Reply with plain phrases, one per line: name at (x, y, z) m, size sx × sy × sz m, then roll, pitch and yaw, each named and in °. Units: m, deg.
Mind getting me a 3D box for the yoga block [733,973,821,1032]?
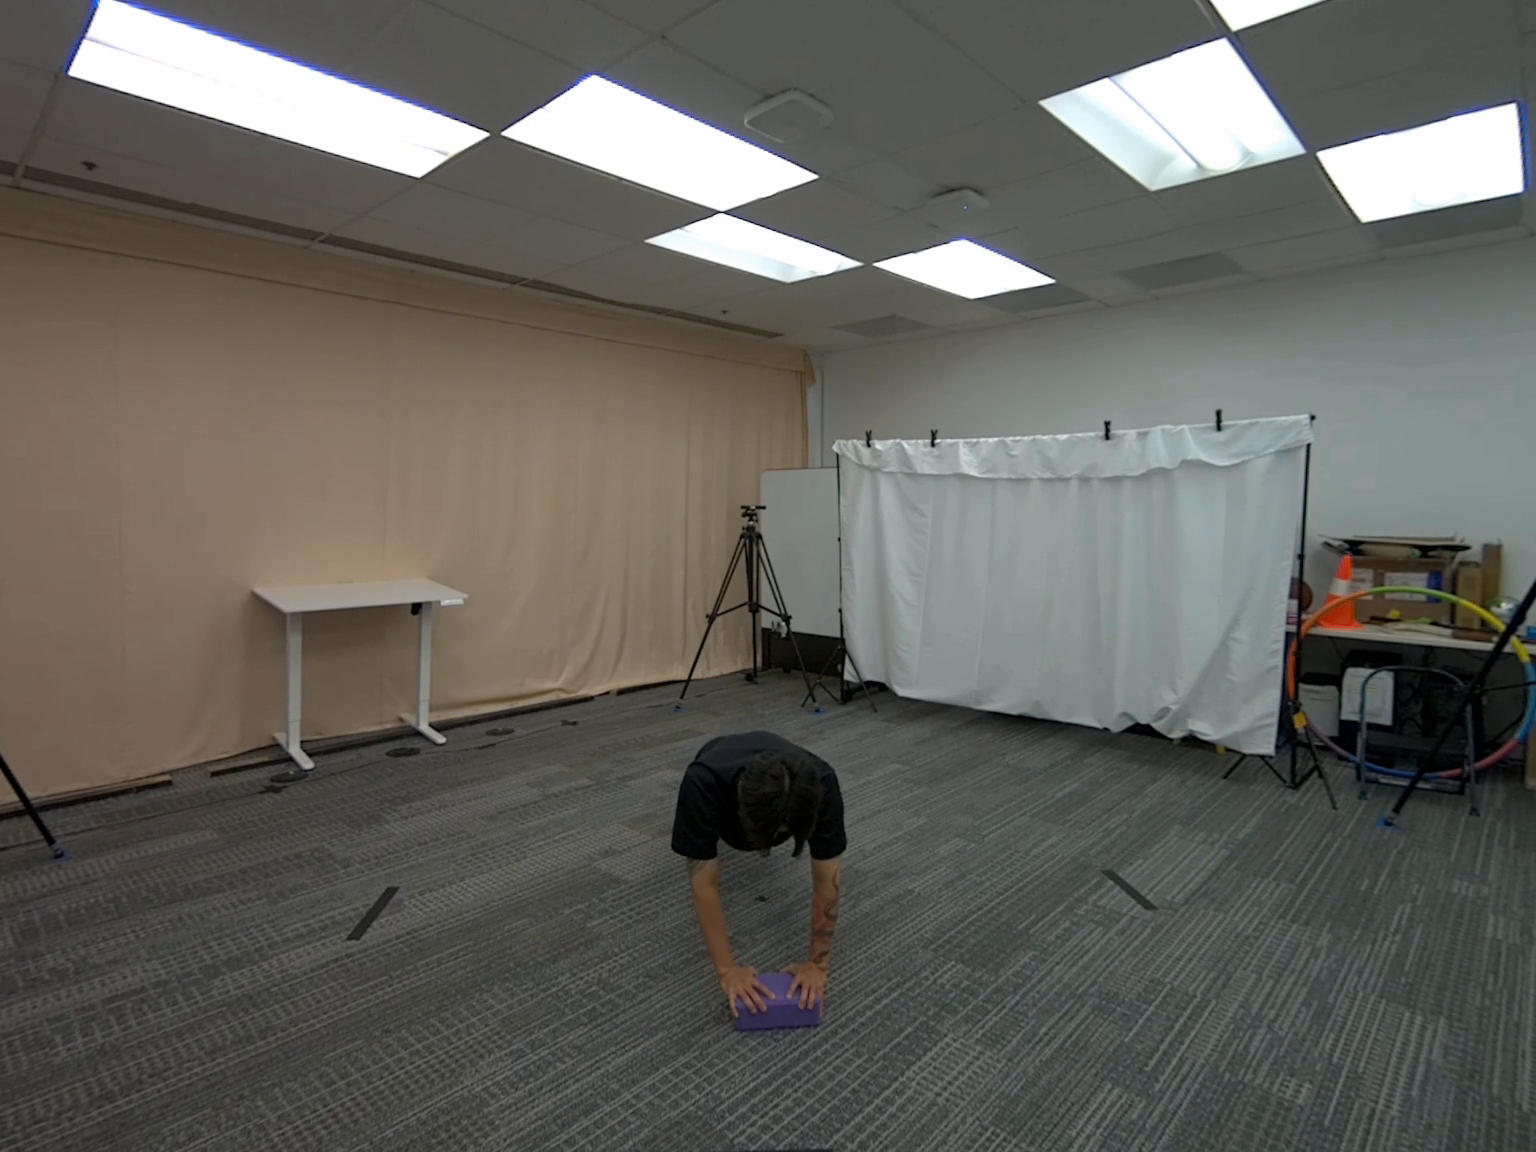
yoga block at (0.015, 1.157, 2.312) m, size 0.228 × 0.076 × 0.151 m, roll -1°, pitch 7°, yaw -7°
